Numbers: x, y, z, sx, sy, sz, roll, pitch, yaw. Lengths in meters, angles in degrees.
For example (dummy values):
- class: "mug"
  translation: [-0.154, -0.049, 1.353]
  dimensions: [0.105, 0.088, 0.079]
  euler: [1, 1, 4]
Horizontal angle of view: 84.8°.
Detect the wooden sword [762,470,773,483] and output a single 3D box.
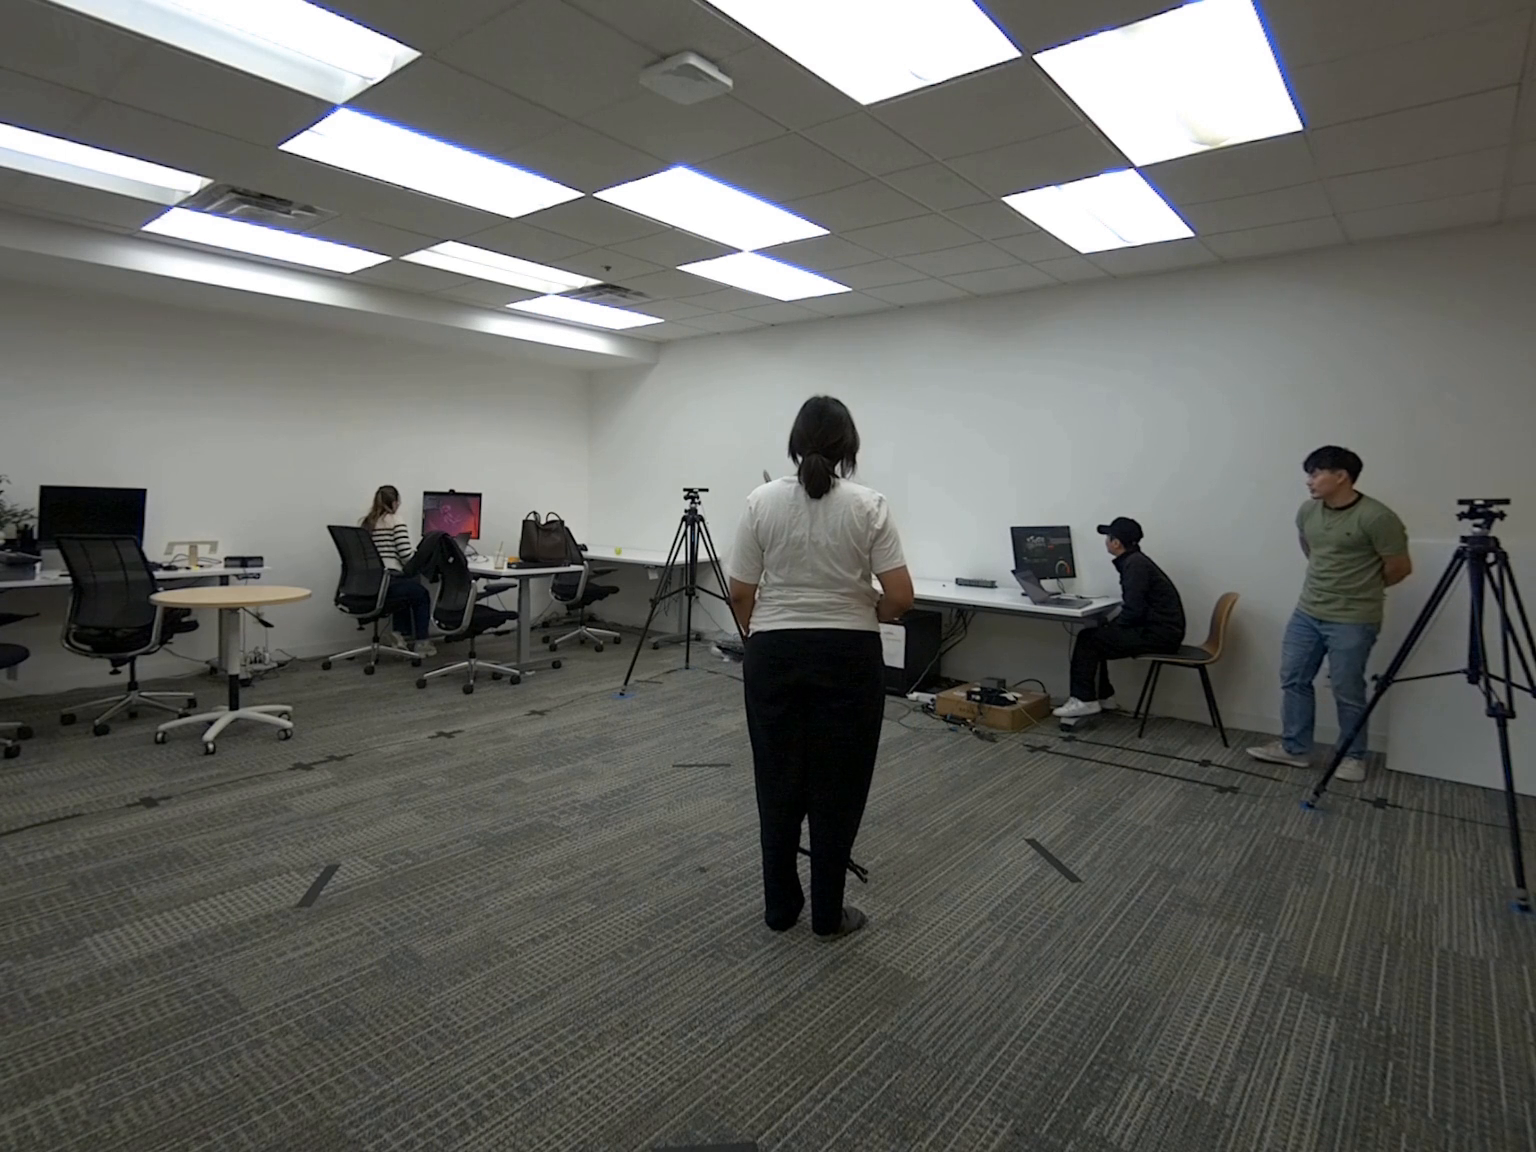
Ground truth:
- class: "wooden sword"
  translation: [0.136, -0.121, 3.206]
  dimensions: [0.051, 0.023, 1.063]
  euler: [-28, 39, 4]
